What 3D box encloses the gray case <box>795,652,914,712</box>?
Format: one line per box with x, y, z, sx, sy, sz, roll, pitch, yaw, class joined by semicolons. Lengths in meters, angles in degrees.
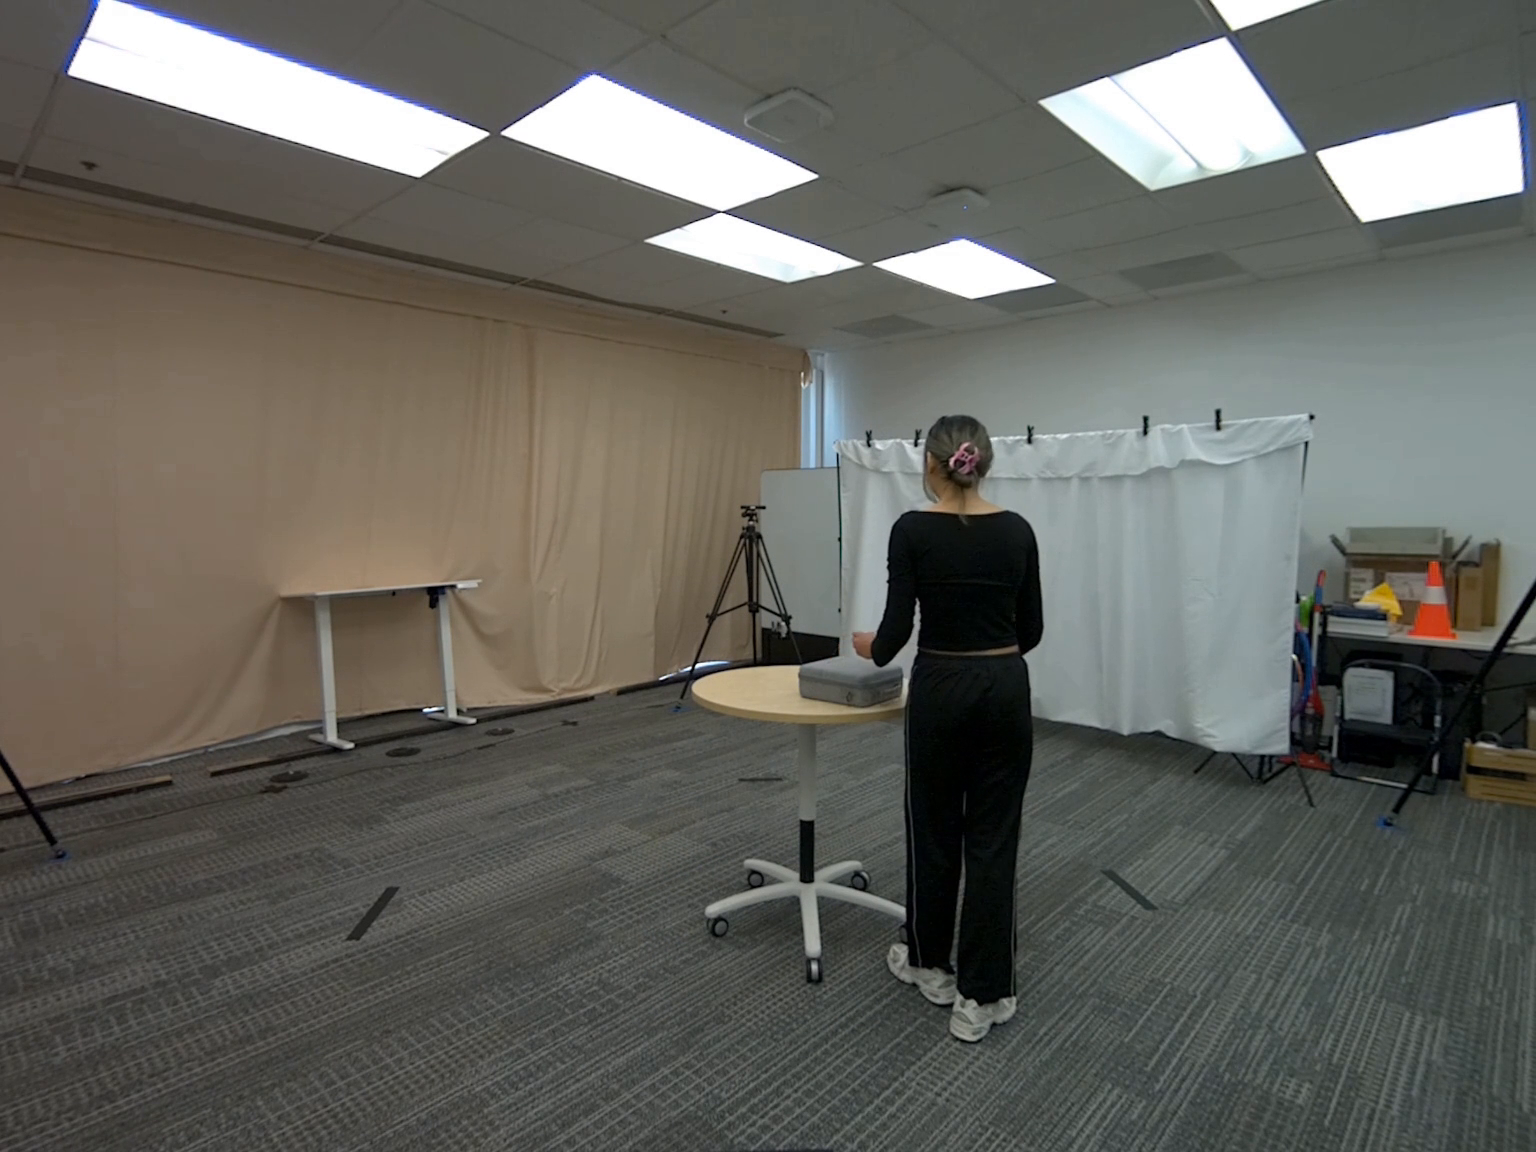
0.268;0.321;2.633;0.269;0.104;0.249;5;7;41;gray case
